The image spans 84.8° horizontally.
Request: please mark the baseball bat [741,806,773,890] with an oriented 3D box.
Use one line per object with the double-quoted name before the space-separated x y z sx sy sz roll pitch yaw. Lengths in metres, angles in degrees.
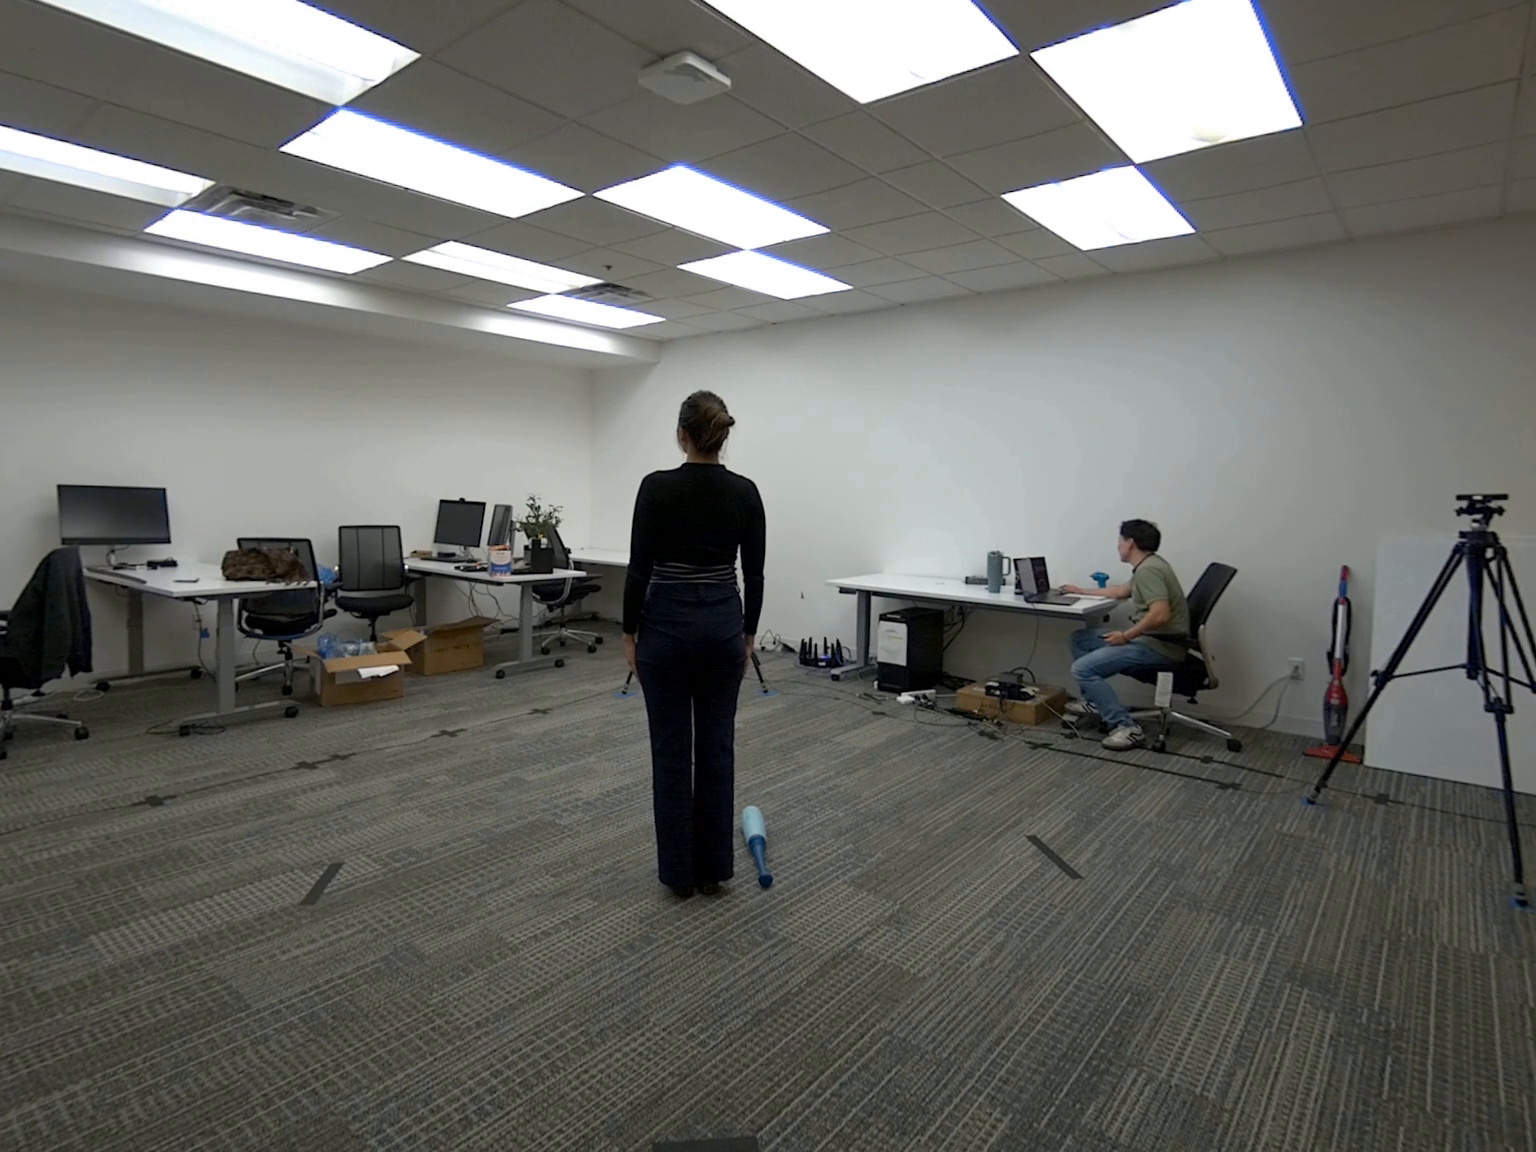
"baseball bat" -0.042 1.024 3.228 0.088 0.088 0.551 0 9 -8
